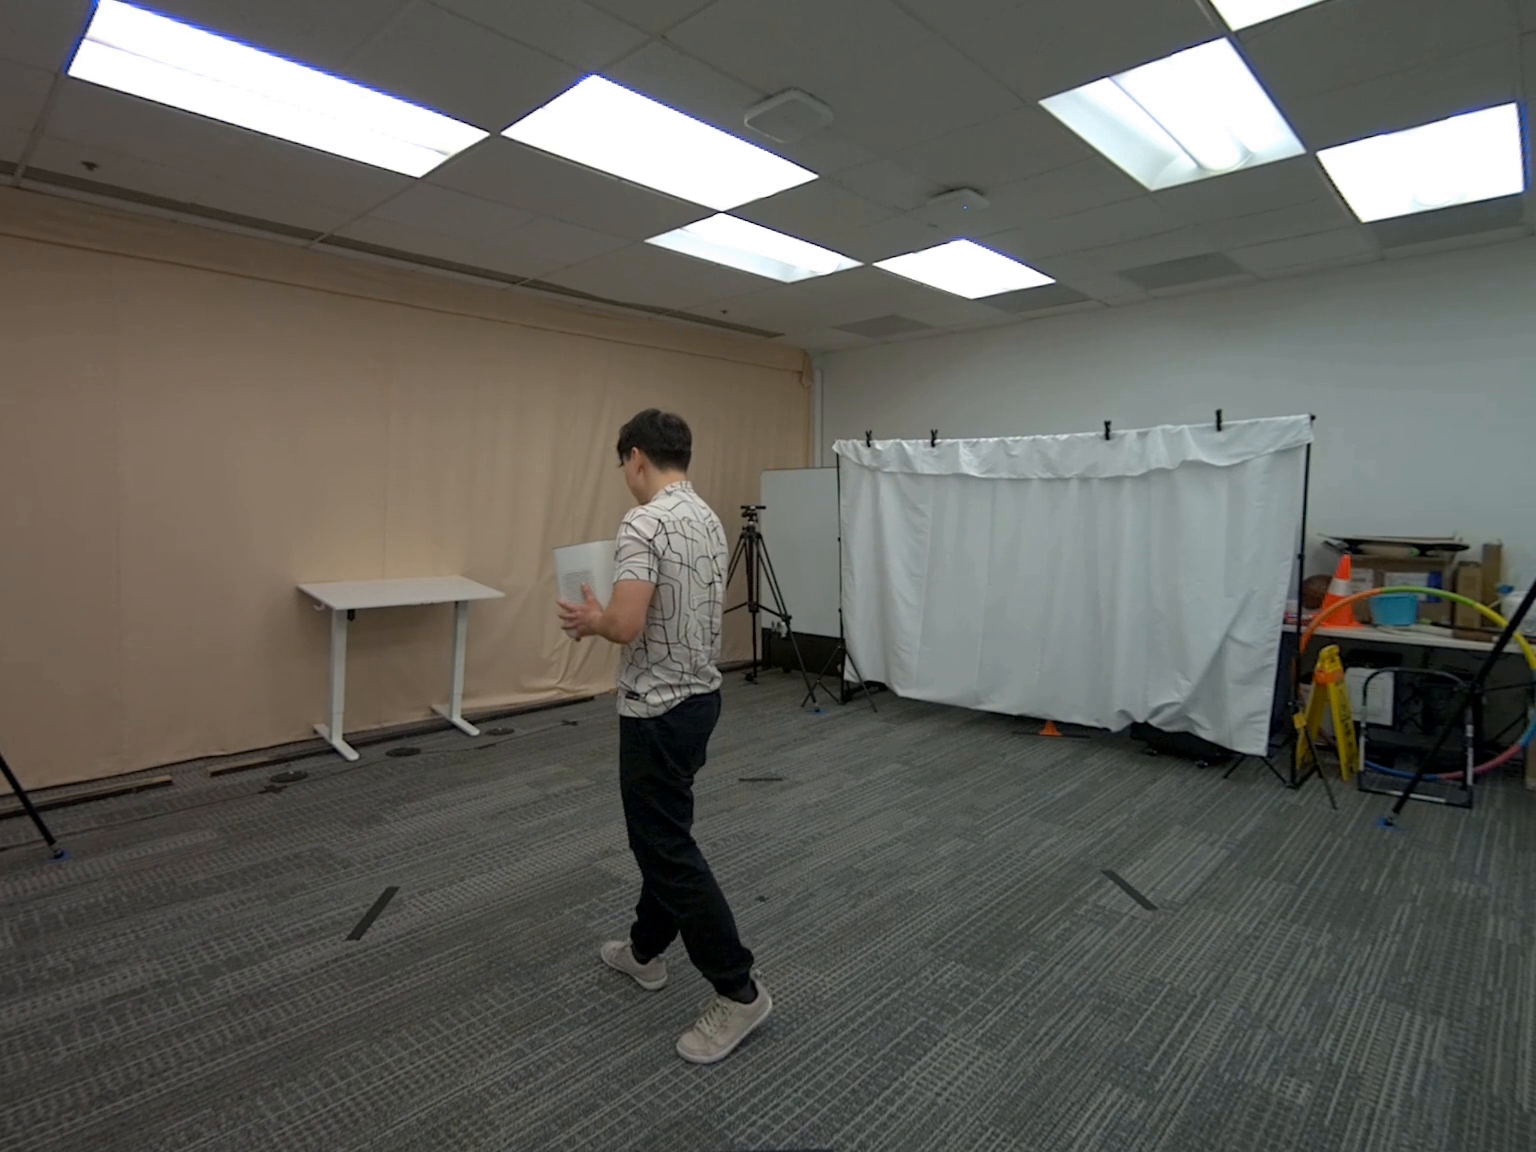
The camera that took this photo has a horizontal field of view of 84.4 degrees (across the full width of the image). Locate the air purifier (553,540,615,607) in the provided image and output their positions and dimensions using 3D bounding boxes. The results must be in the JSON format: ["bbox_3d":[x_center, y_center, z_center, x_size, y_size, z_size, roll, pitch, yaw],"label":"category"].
[{"bbox_3d":[-0.492,0.036,2.404,0.173,0.264,0.170,-9,4,10],"label":"air purifier"}]
